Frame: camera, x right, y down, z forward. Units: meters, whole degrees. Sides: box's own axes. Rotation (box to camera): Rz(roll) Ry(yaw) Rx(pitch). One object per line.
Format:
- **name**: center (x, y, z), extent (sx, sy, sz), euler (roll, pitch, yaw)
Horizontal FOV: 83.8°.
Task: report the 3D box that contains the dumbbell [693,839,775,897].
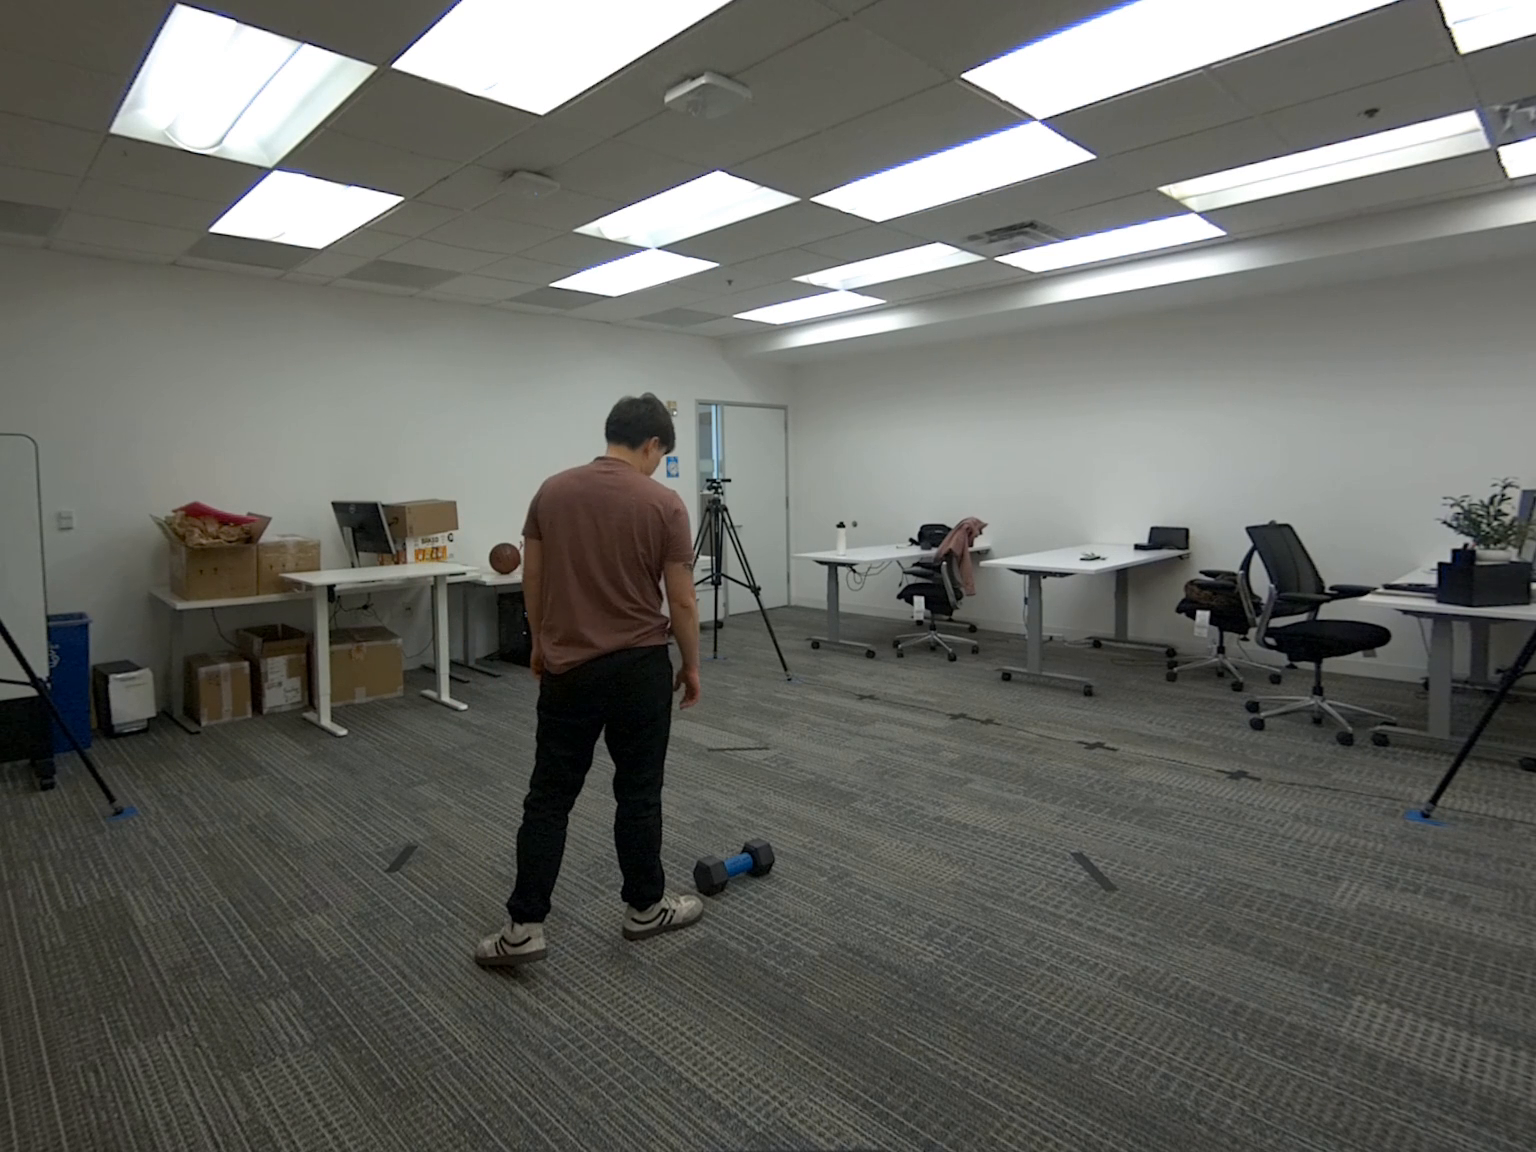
- **dumbbell**: center (-0.113, 1.006, 2.966), extent (0.286, 0.121, 0.113), euler (-6, 37, -41)
